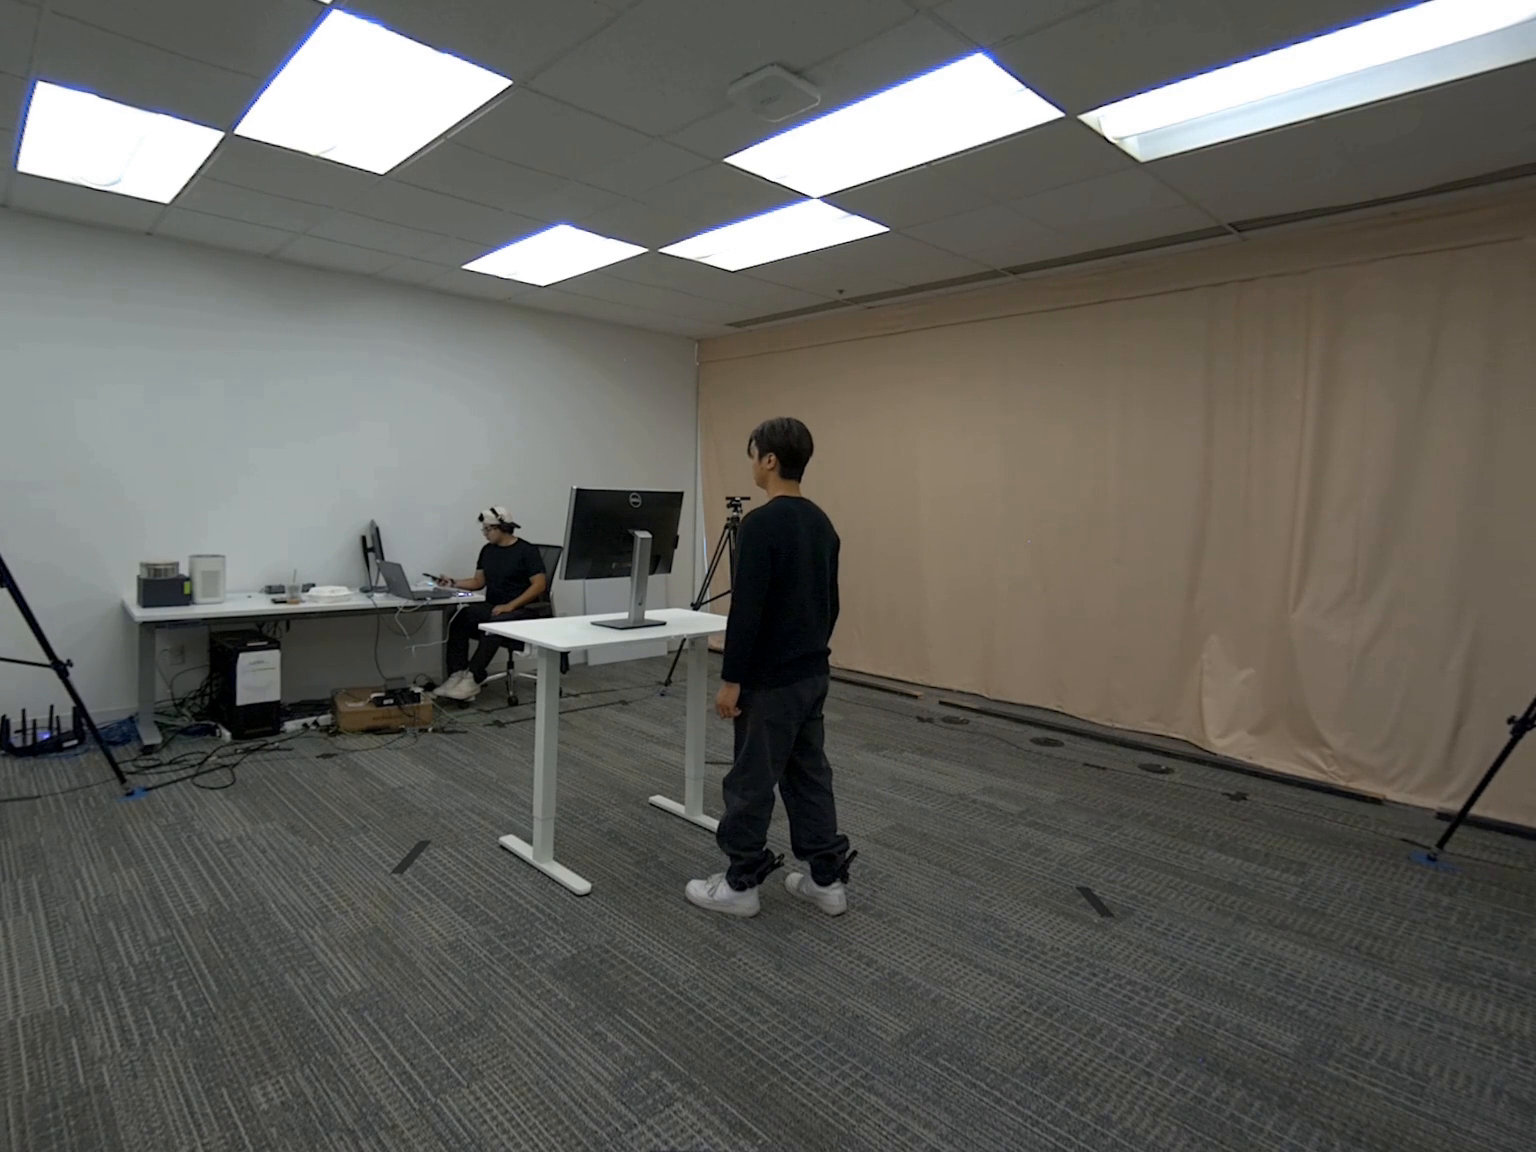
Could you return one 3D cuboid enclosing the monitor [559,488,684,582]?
[{"bbox_3d":[-0.556,-0.074,3.333,0.178,0.515,0.519,-4,2,40],"label":"monitor"}]
